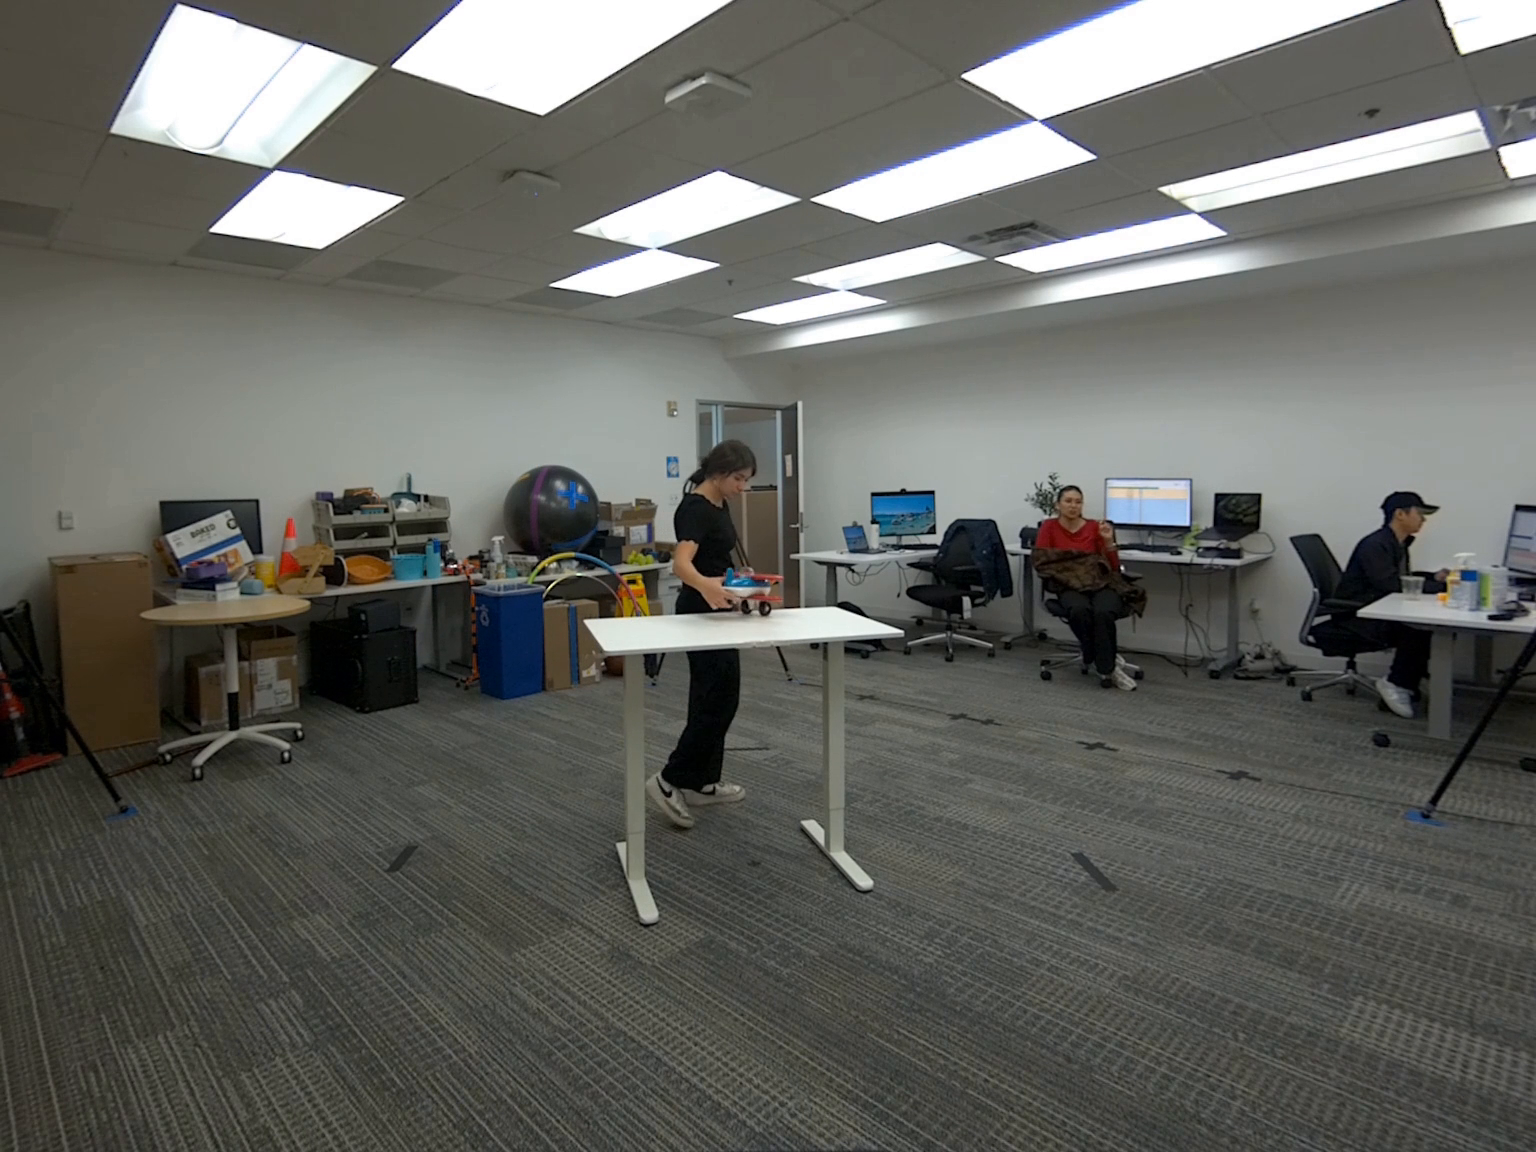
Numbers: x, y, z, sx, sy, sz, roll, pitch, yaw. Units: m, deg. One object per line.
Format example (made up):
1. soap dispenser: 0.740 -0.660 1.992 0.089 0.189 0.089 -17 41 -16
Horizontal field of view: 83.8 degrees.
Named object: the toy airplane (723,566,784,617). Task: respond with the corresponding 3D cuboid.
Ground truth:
1. toy airplane: -0.061 0.053 3.183 0.254 0.158 0.254 9 -11 8
